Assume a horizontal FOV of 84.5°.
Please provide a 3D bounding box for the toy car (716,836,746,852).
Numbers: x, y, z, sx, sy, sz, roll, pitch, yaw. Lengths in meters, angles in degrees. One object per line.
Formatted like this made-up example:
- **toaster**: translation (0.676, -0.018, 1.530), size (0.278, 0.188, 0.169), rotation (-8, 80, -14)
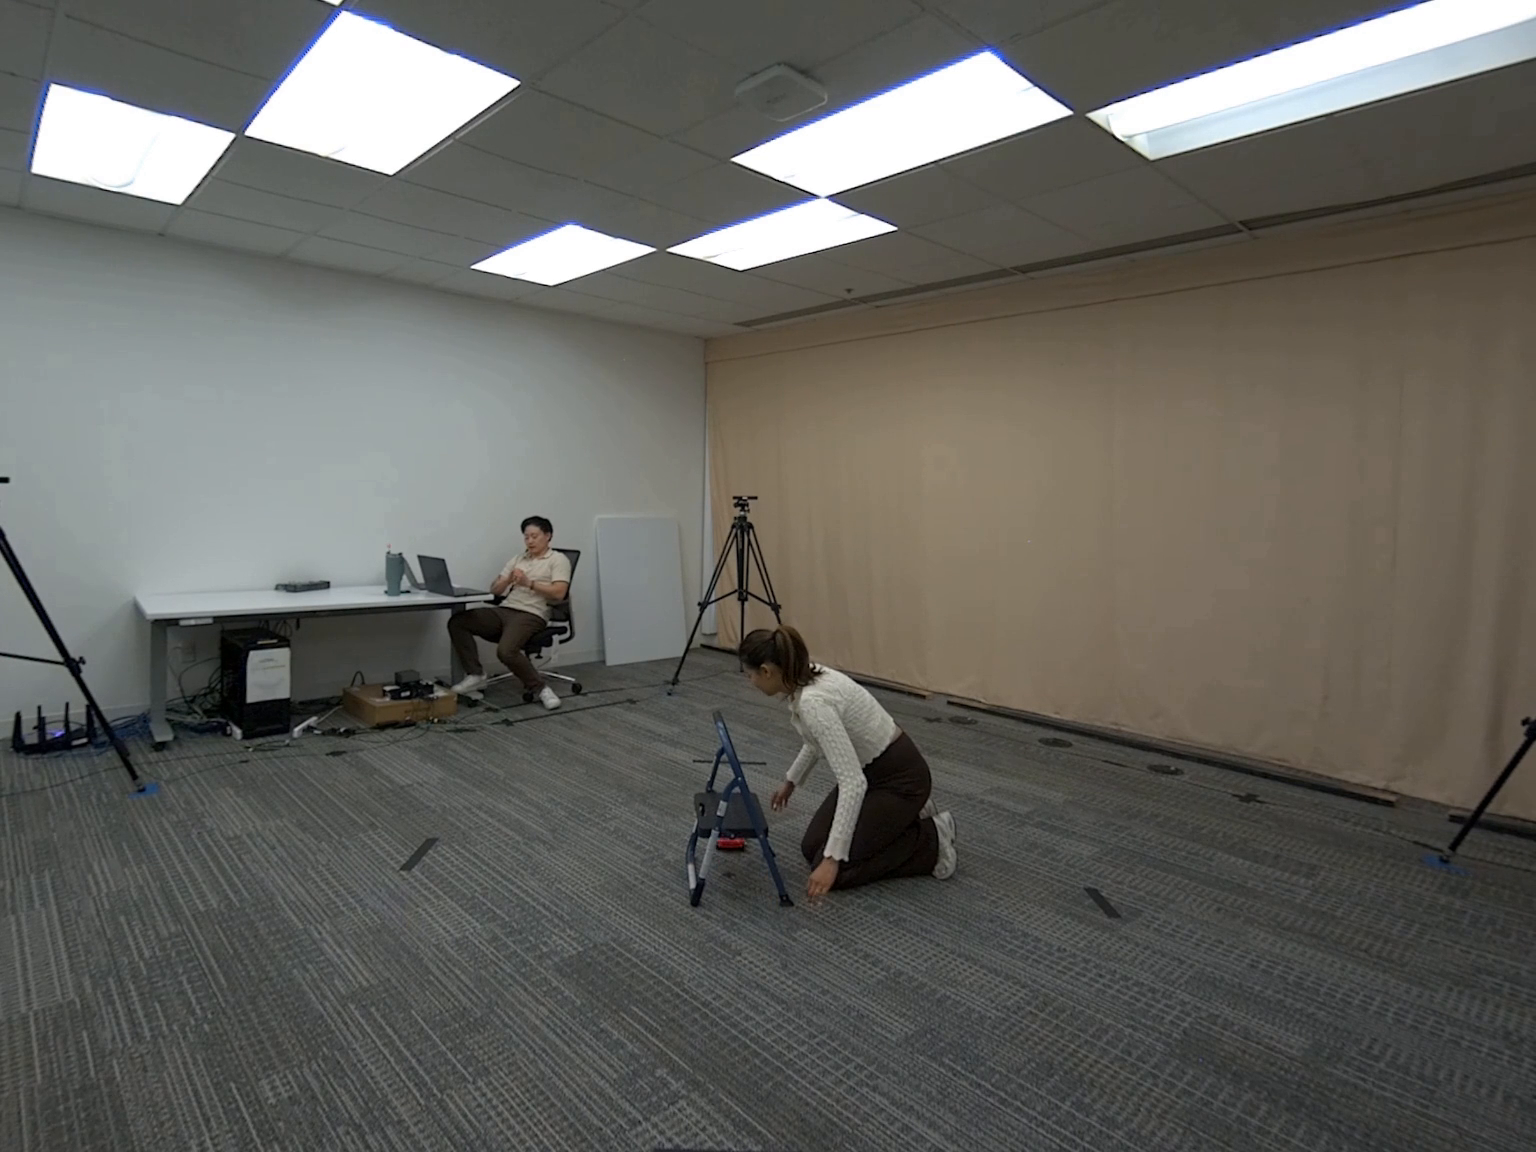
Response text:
- **toy car**: translation (-0.148, 1.047, 3.411), size (0.130, 0.082, 0.256), rotation (1, 11, 1)
